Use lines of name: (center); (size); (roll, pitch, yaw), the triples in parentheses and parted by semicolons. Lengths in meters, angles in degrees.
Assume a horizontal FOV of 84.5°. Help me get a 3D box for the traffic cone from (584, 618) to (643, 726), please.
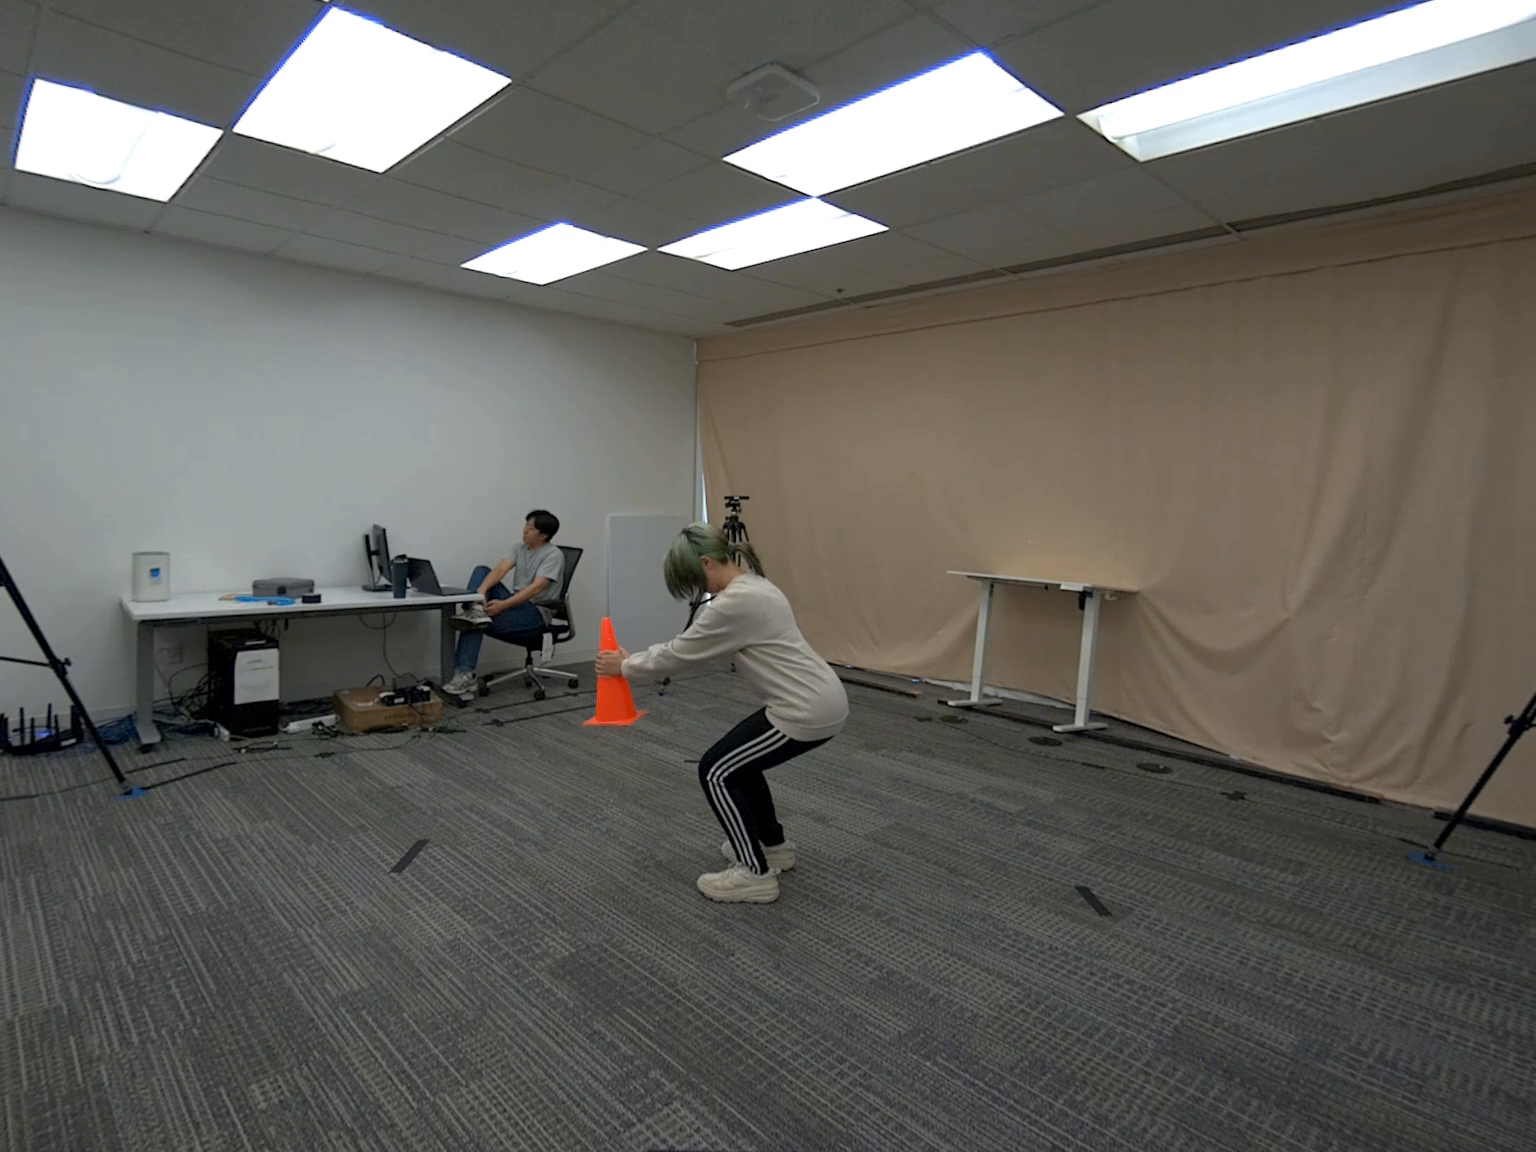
traffic cone: (-0.595, 0.349, 3.192); (0.206, 0.383, 0.202); (-4, 1, 18)
